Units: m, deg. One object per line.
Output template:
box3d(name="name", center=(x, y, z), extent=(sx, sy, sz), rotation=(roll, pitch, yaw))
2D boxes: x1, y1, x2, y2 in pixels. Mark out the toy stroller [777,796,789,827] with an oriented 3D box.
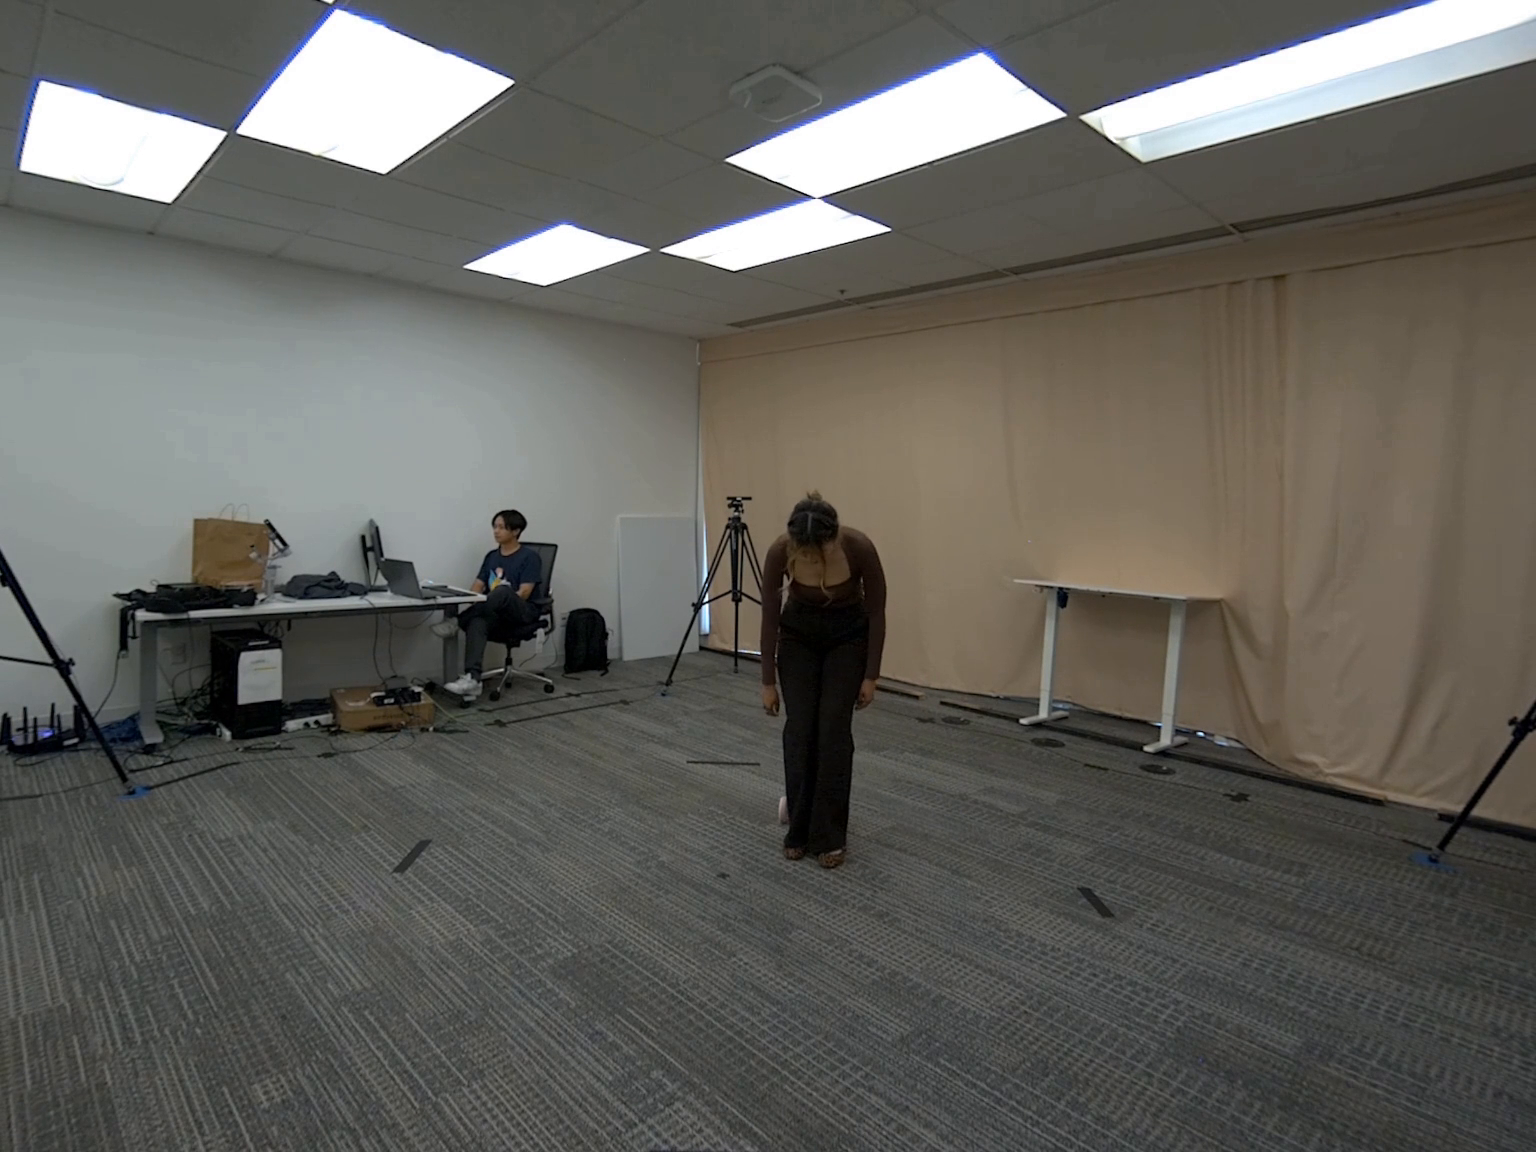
box3d(name="toy stroller", center=(0.211, 0.850, 3.662), extent=(0.286, 0.527, 0.341), rotation=(4, 21, 19))
